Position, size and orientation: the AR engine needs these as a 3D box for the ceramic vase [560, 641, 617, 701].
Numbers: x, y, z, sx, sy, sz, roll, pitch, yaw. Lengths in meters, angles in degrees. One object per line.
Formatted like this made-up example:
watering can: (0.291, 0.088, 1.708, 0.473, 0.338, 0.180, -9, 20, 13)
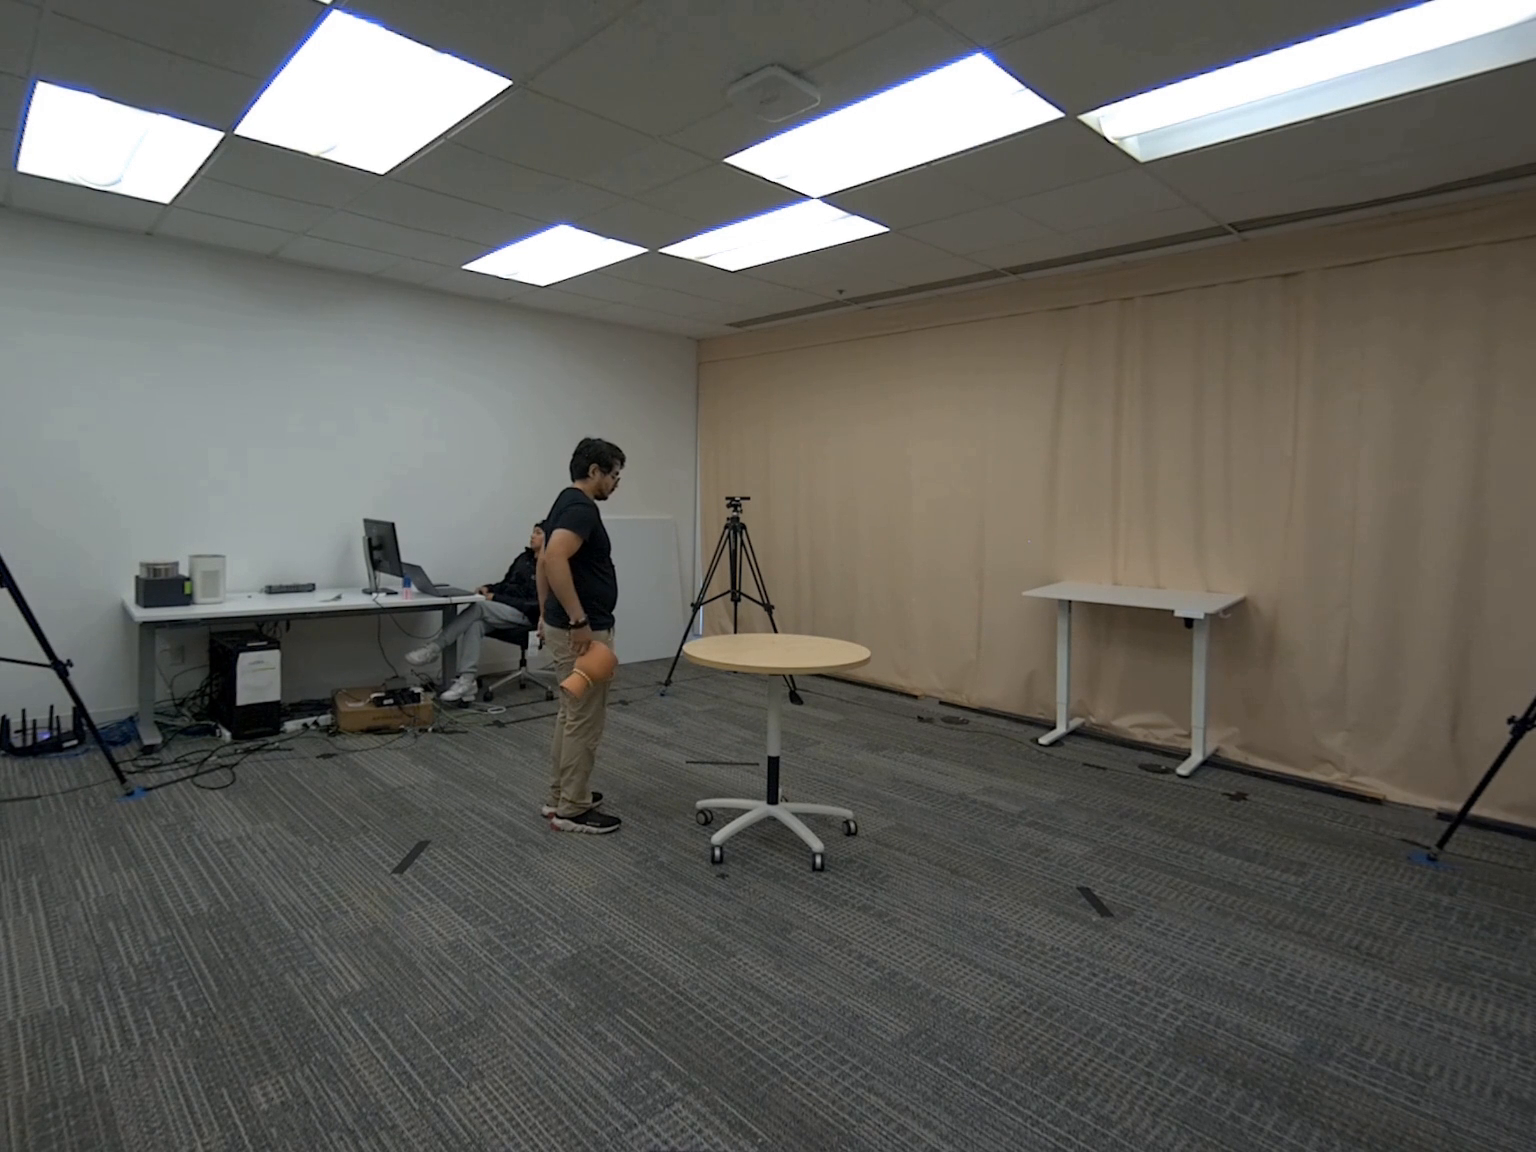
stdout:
ceramic vase: (-0.703, 0.363, 3.262, 0.161, 0.220, 0.132, 33, -30, 12)
